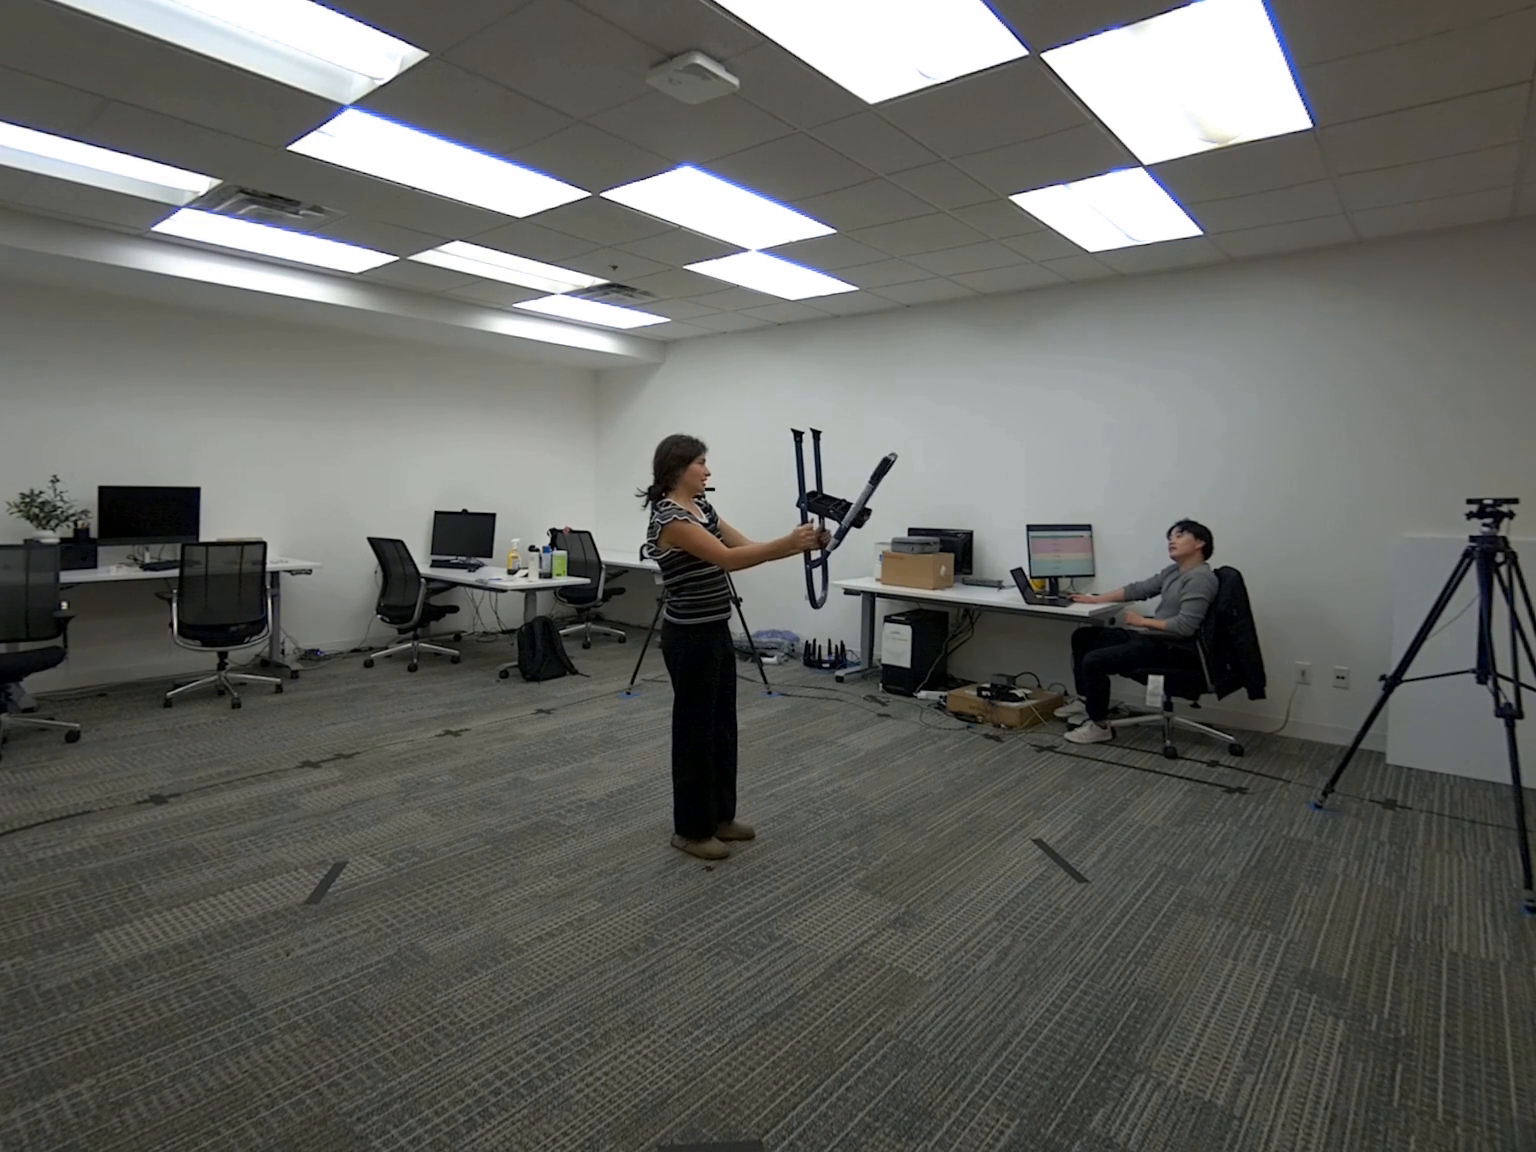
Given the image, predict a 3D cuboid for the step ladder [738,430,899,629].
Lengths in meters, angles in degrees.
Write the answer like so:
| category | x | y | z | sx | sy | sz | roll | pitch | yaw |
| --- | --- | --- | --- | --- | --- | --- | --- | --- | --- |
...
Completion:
| category | x | y | z | sx | sy | sz | roll | pitch | yaw |
| --- | --- | --- | --- | --- | --- | --- | --- | --- | --- |
| step ladder | 0.194 | -0.196 | 3.110 | 0.355 | 0.601 | 0.426 | 20 | 13 | 12 |
